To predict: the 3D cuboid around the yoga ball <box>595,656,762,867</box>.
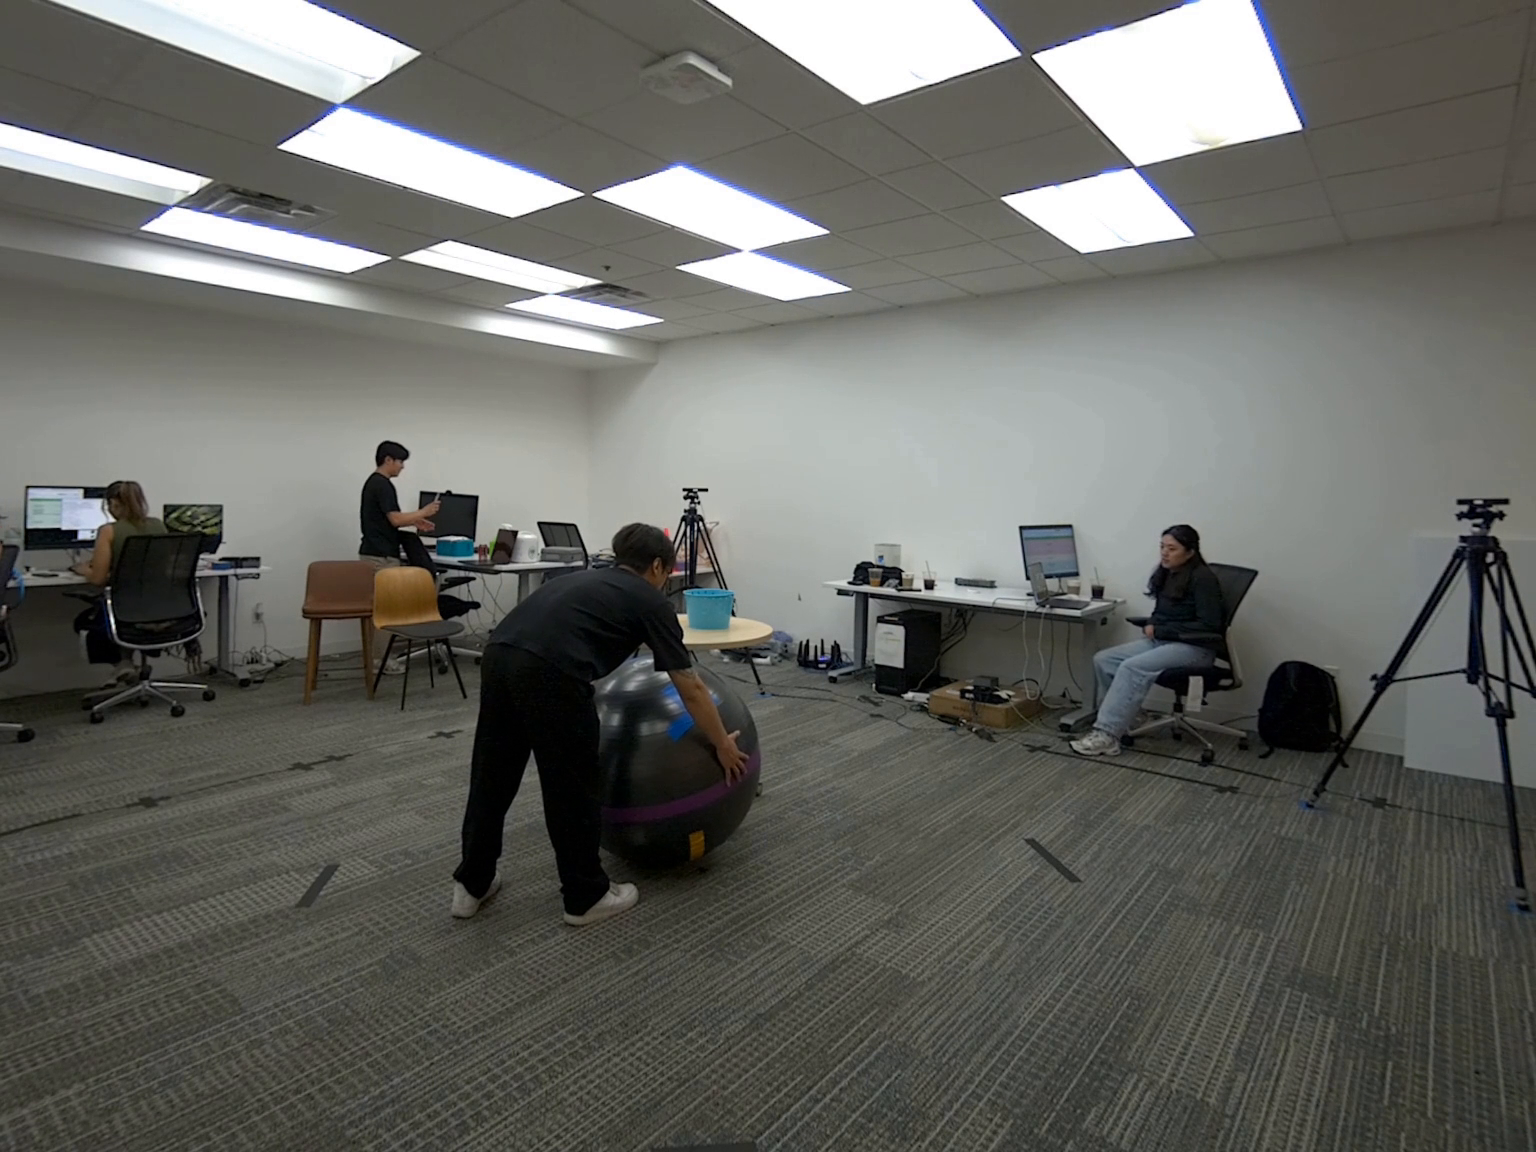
[{"bbox_3d":[-0.414,0.691,3.199,0.757,0.755,0.762,1,4,-2],"label":"yoga ball"}]
